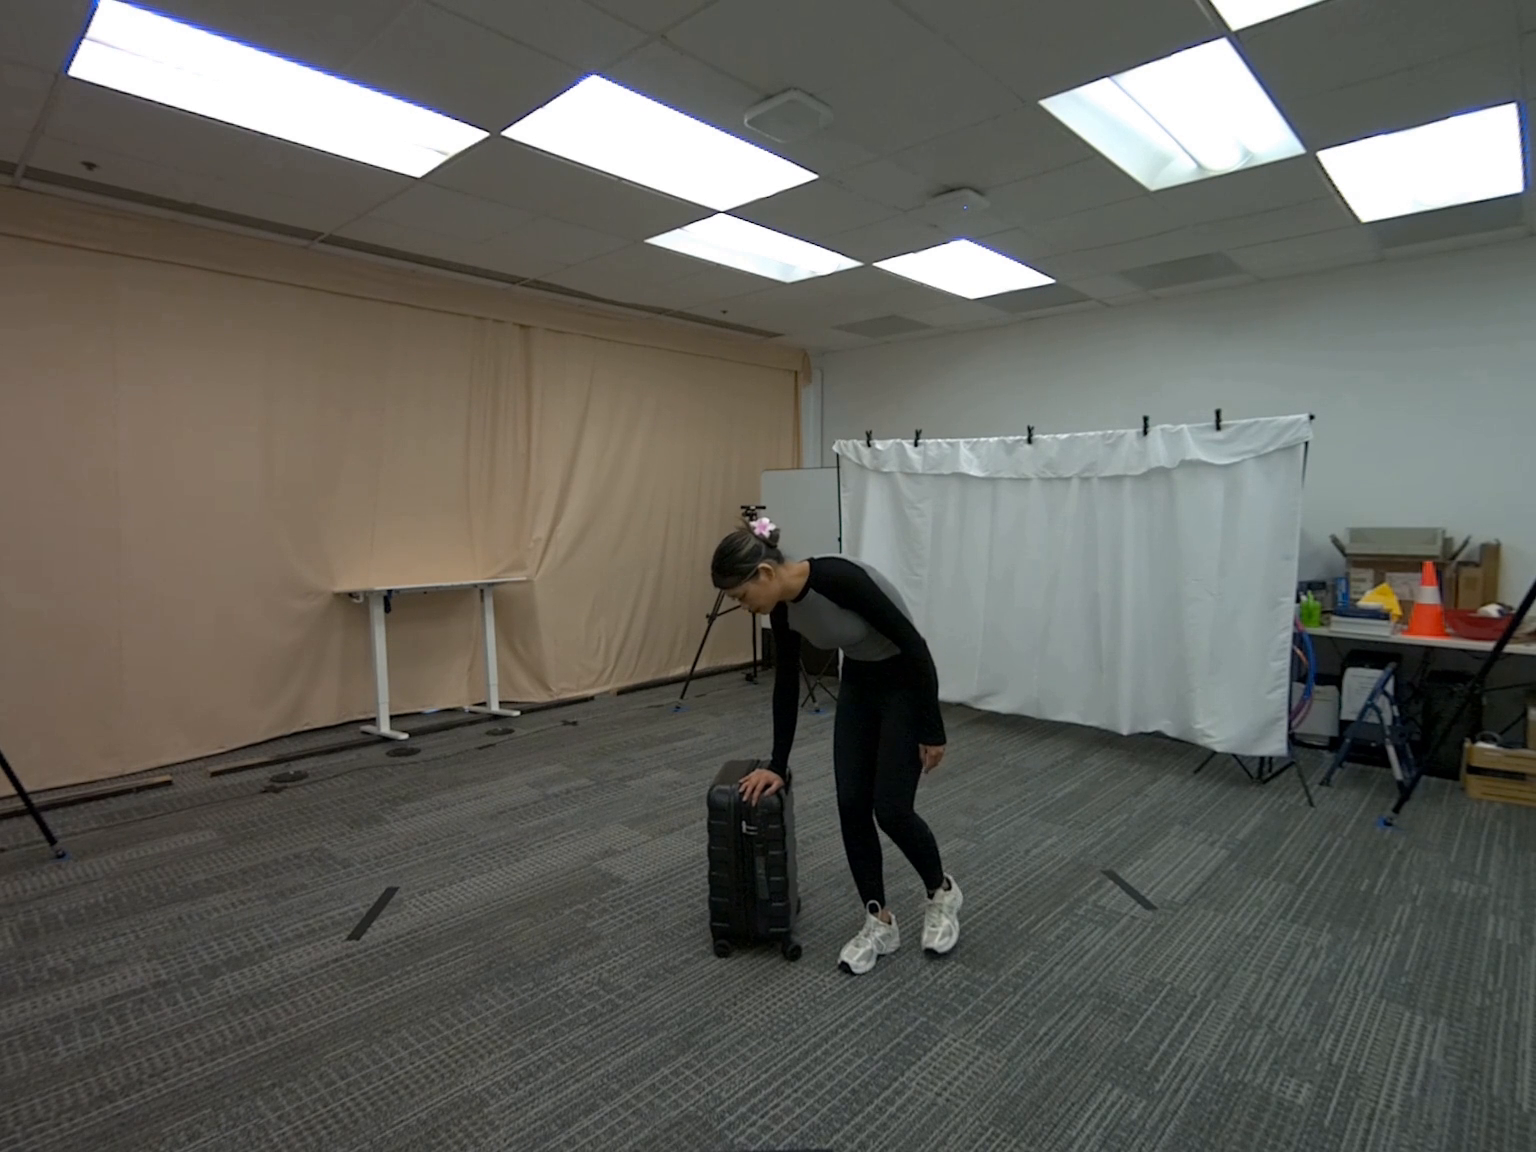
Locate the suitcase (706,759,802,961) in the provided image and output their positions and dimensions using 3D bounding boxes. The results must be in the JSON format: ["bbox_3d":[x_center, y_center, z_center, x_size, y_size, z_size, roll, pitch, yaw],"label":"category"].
[{"bbox_3d":[-0.043,0.889,2.726,0.251,0.548,0.372,-3,4,9],"label":"suitcase"}]
